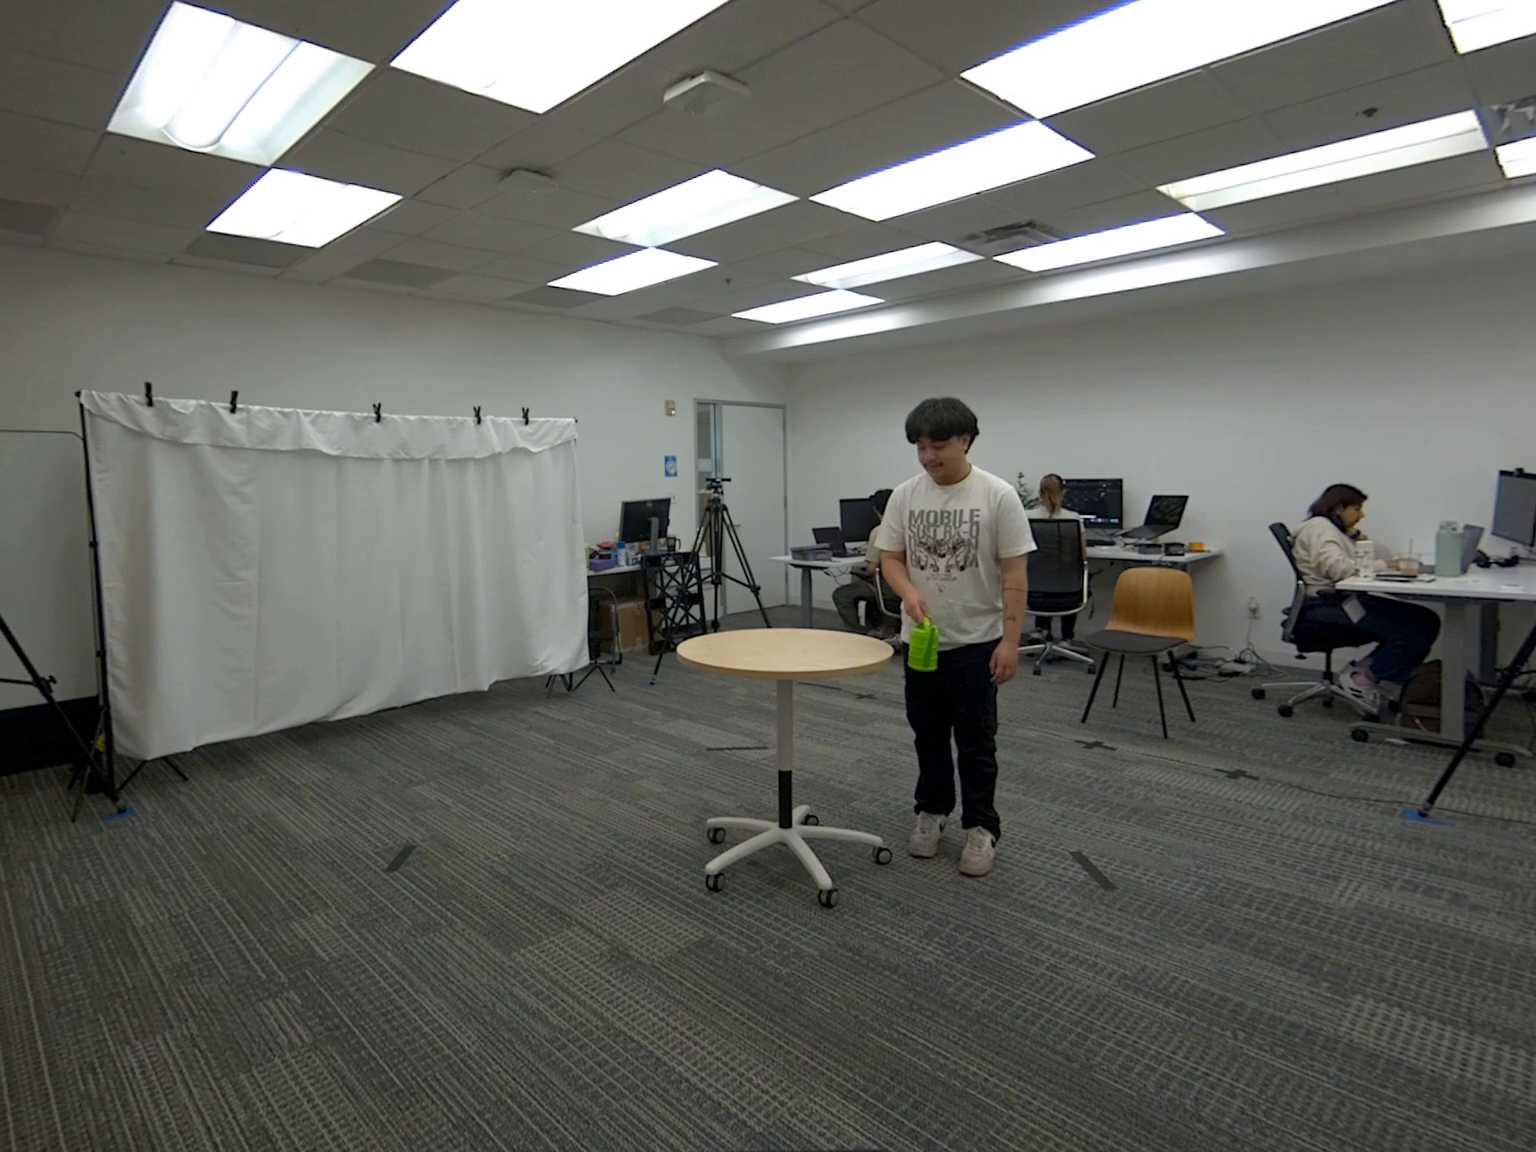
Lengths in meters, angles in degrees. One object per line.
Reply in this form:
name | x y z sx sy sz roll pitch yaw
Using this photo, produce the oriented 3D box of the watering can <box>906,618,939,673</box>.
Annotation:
watering can | 0.532 0.231 2.859 0.099 0.176 0.276 6 5 10
